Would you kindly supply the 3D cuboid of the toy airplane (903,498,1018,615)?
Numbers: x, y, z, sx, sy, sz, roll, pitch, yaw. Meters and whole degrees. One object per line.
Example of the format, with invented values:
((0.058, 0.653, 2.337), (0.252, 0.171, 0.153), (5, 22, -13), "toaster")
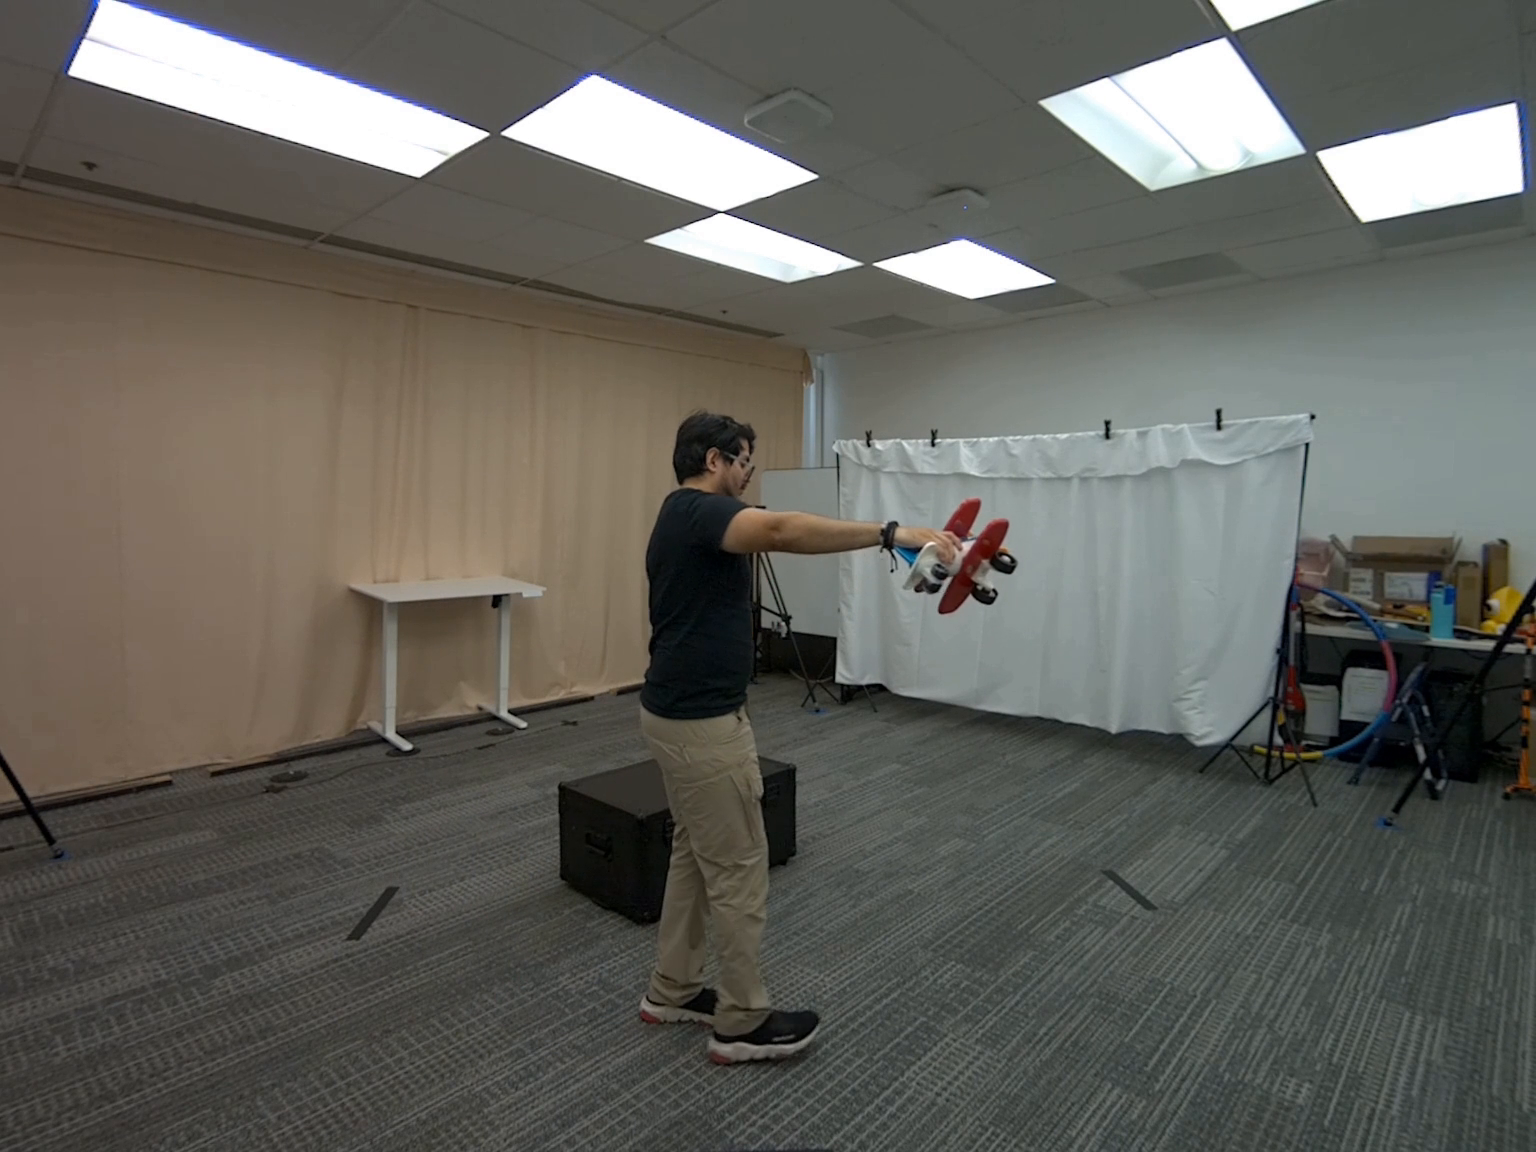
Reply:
((0.411, -0.041, 1.781), (0.250, 0.252, 0.161), (34, 17, -42), "toy airplane")
